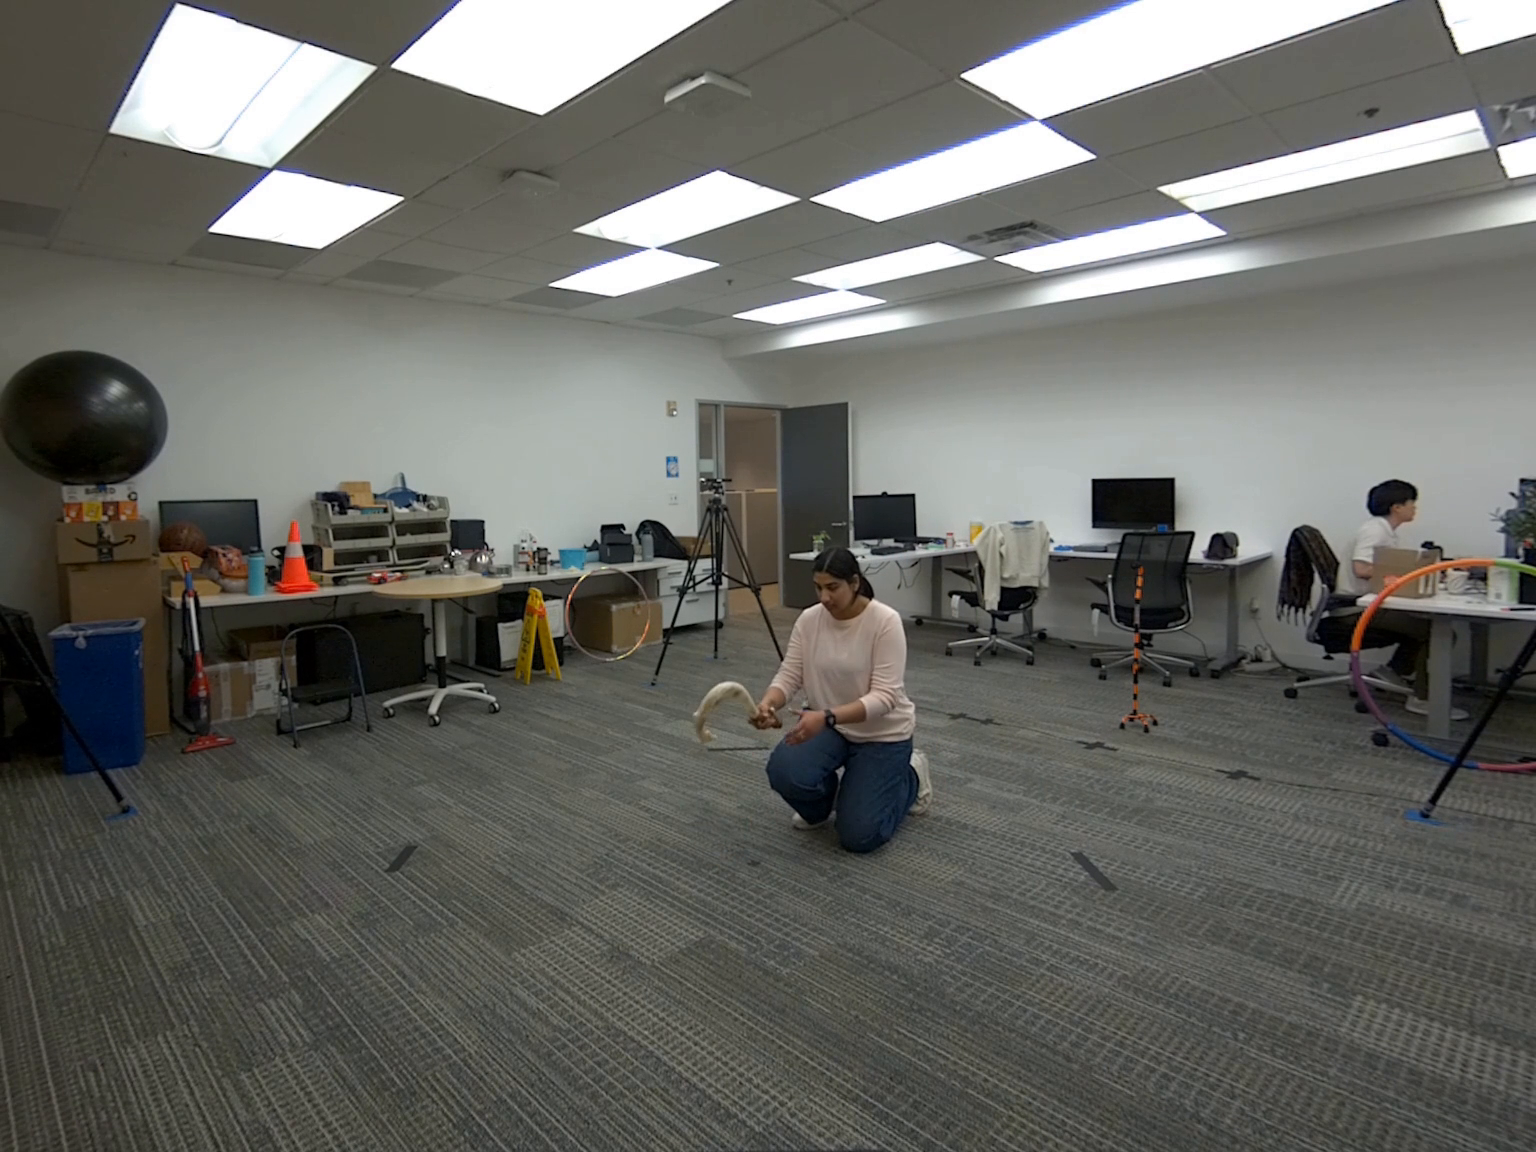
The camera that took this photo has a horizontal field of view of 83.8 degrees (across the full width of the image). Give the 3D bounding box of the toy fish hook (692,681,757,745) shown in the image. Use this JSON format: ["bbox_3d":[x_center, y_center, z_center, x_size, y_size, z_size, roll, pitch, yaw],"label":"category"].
[{"bbox_3d":[-0.103,0.497,2.934,0.050,0.224,0.487,41,1,36],"label":"toy fish hook"}]
